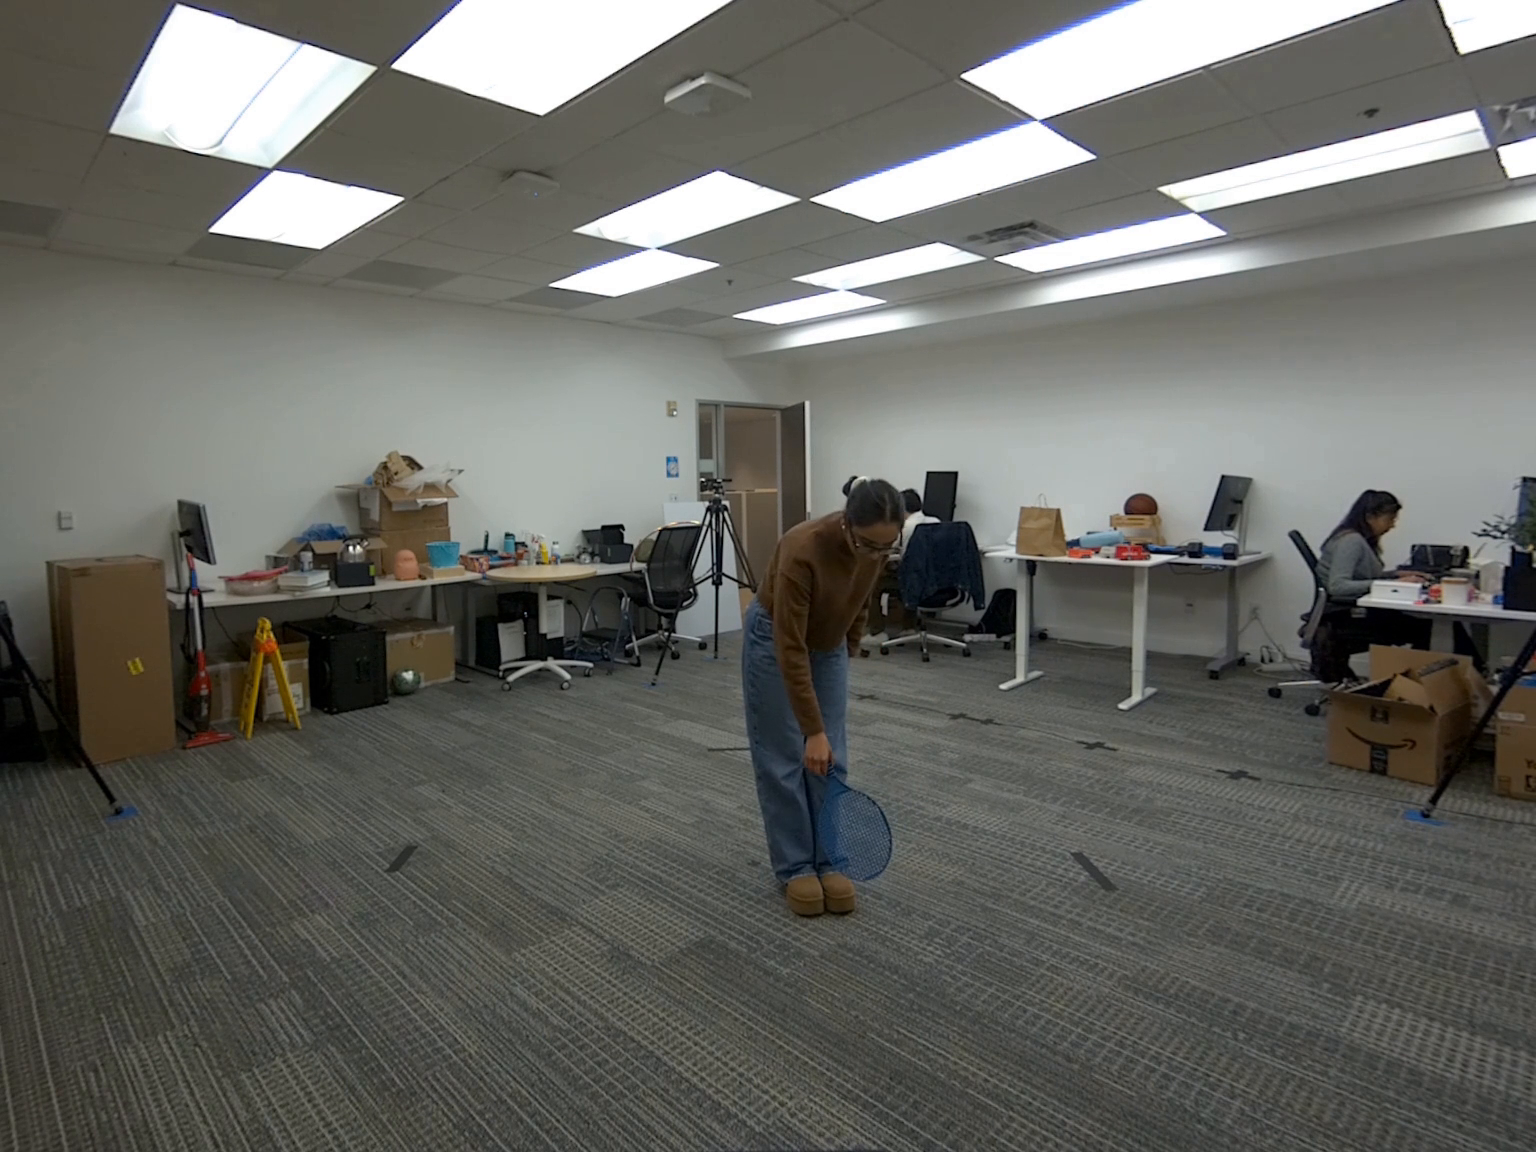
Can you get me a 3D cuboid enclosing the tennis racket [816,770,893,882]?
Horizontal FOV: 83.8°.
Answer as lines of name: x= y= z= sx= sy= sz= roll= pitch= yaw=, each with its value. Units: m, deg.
tennis racket: x=0.231 y=0.687 z=2.558 sx=0.213 sy=0.436 sz=0.031 roll=-20 pitch=-6 yaw=-4
